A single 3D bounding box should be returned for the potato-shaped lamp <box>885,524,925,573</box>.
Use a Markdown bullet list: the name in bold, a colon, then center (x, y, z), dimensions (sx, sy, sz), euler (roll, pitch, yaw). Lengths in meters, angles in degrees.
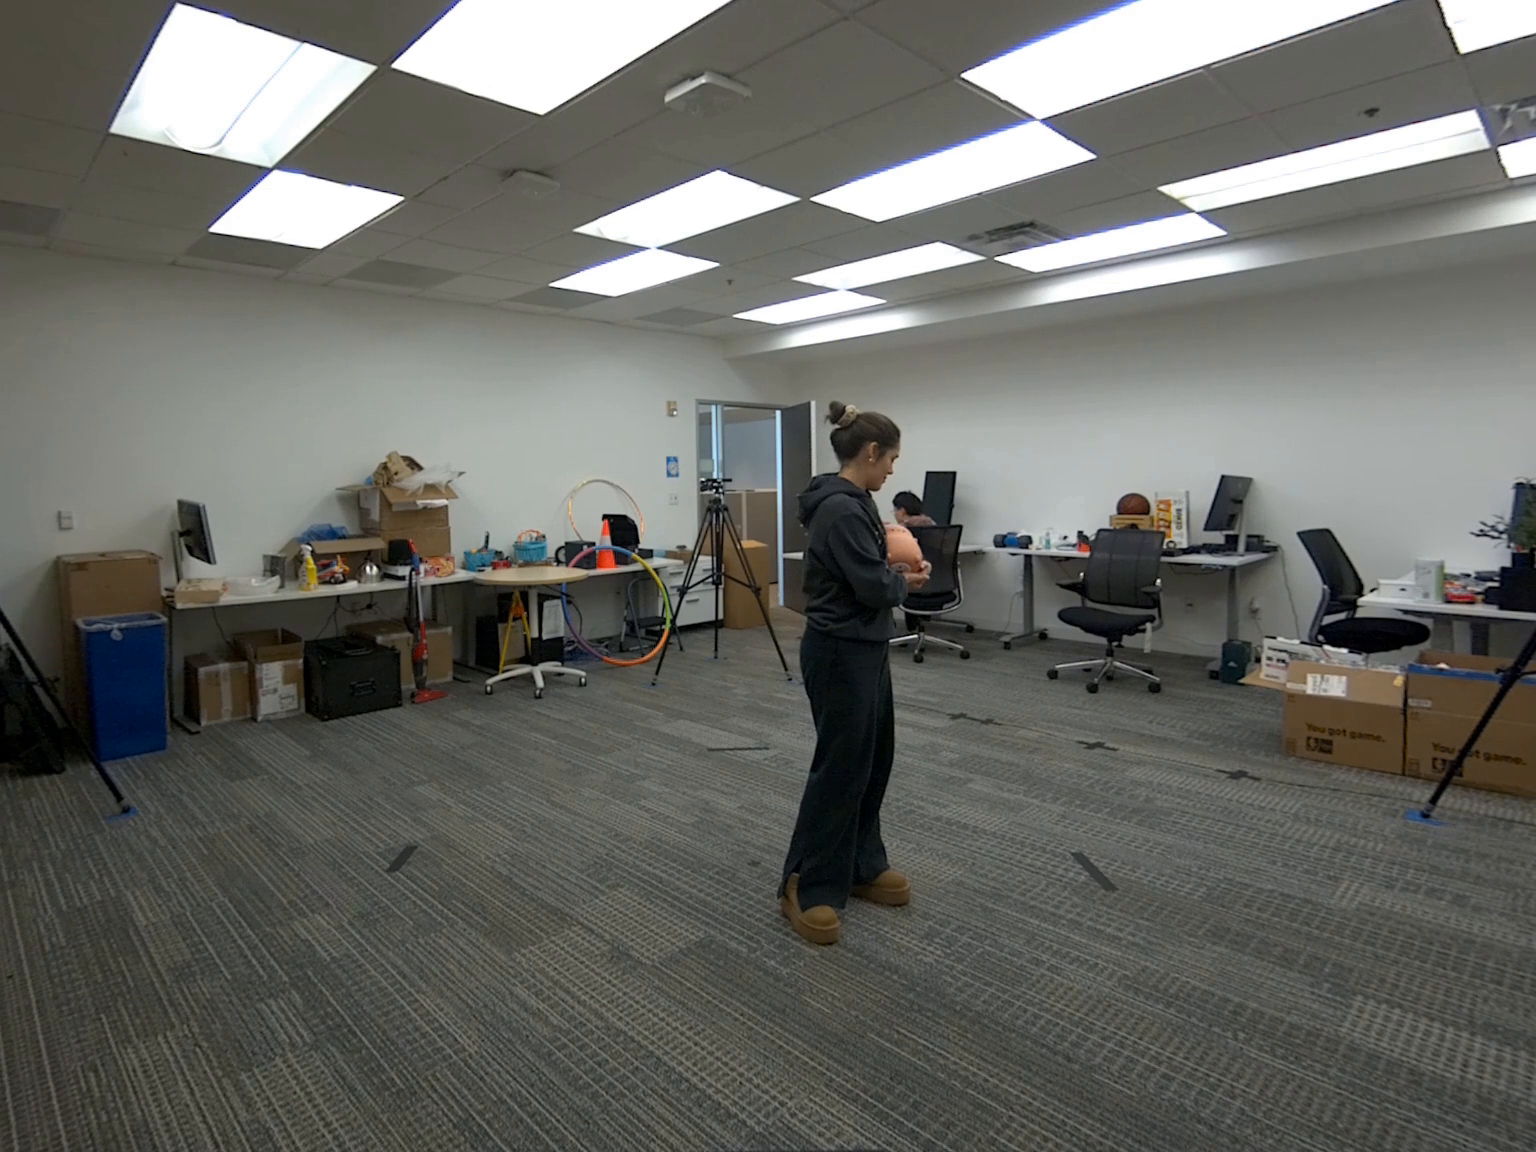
- **potato-shaped lamp**: center (0.430, -0.079, 2.922), dimensions (0.164, 0.203, 0.167), euler (5, -41, -4)
